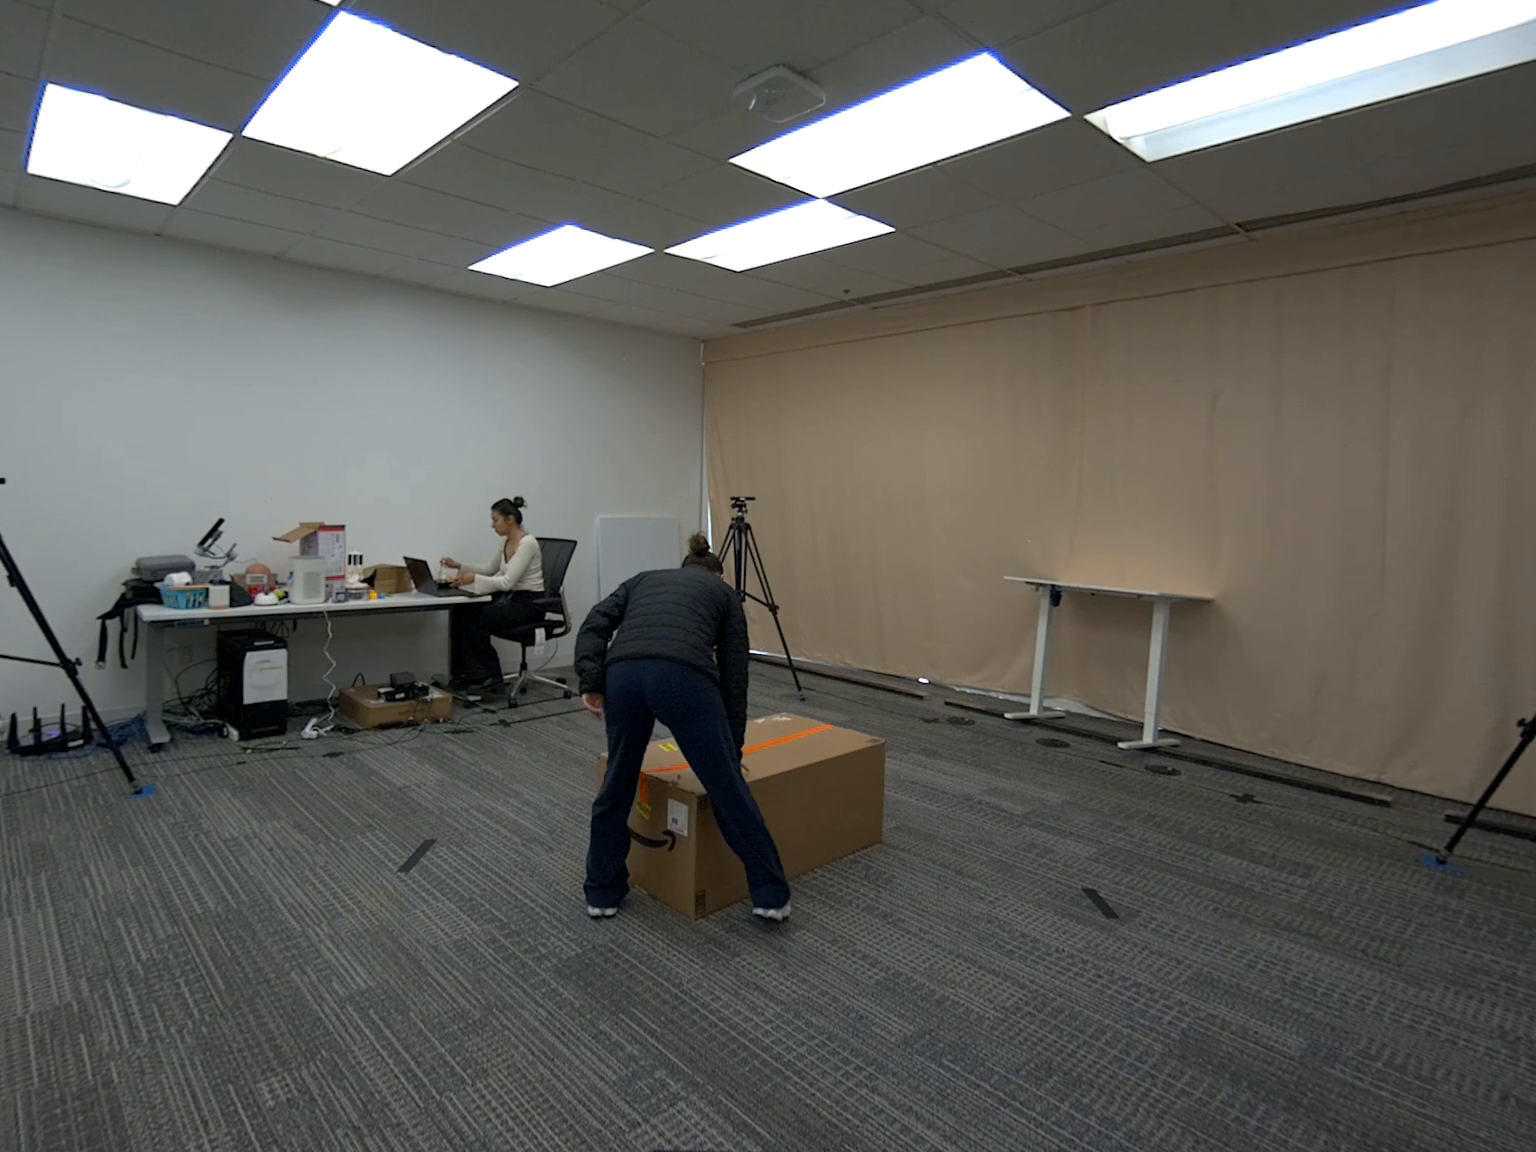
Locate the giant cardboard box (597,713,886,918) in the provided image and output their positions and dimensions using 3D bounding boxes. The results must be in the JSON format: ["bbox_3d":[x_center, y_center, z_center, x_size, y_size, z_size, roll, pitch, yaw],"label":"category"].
[{"bbox_3d":[-0.089,0.885,3.297,1.003,0.445,0.599,-3,7,-44],"label":"giant cardboard box"}]
